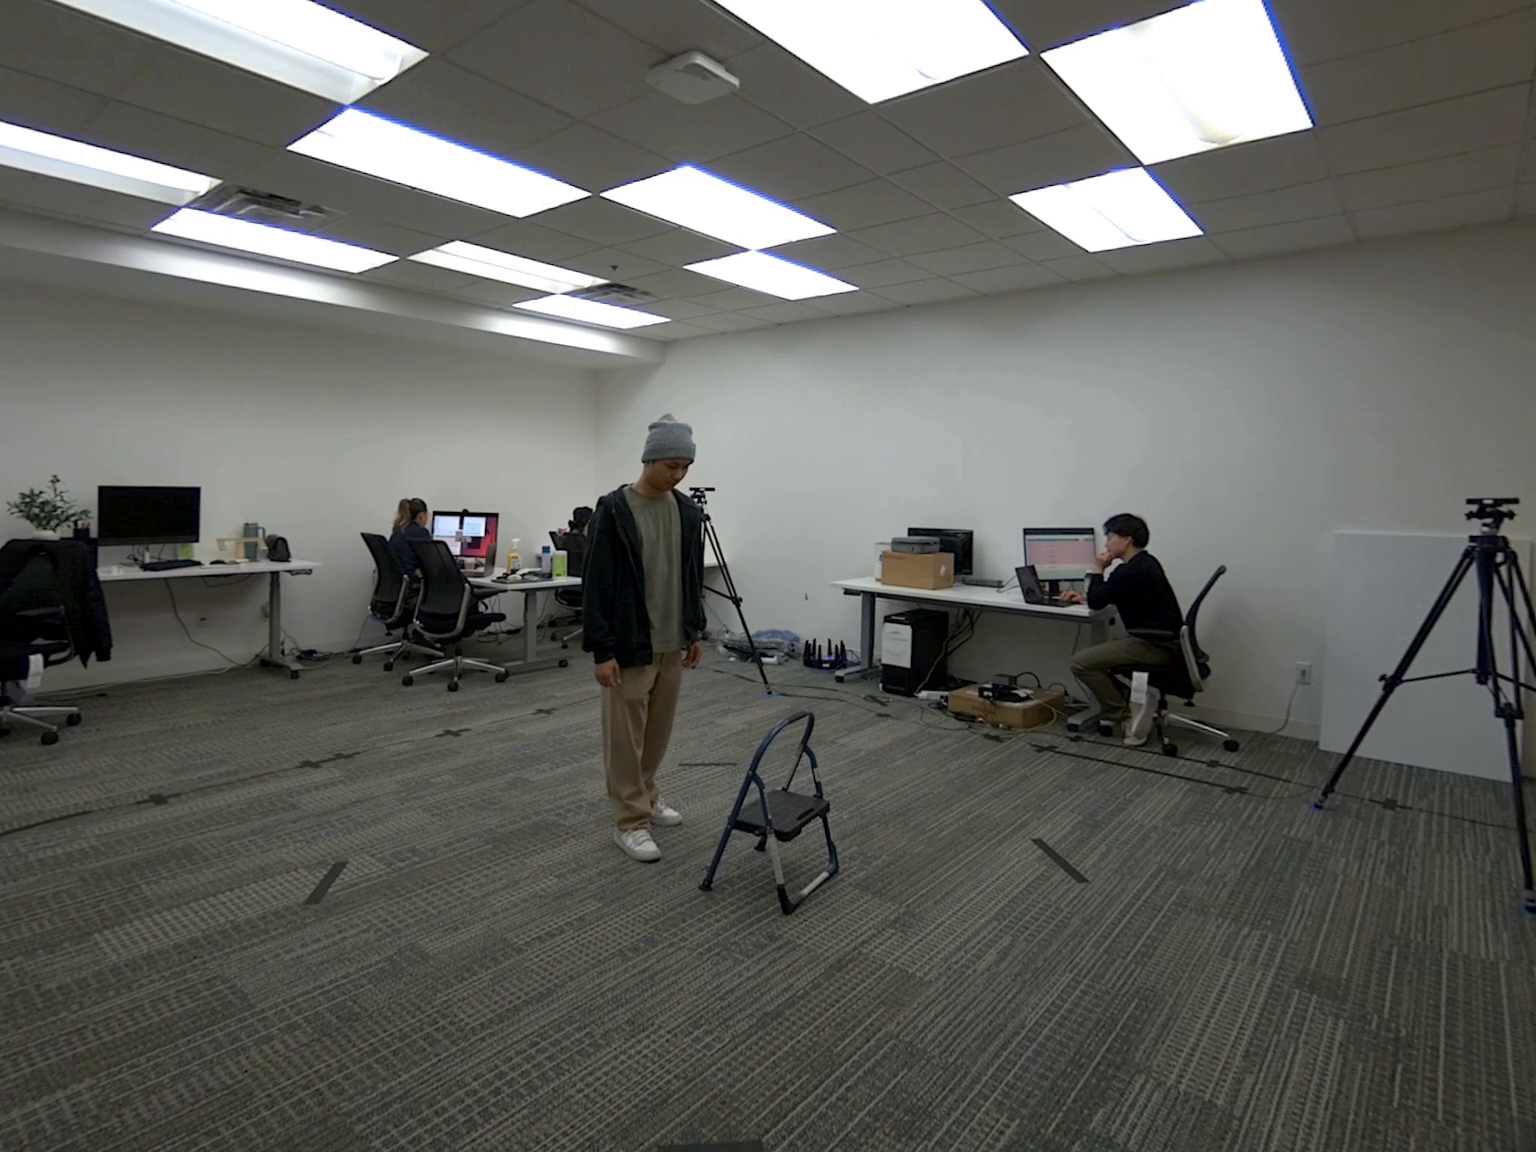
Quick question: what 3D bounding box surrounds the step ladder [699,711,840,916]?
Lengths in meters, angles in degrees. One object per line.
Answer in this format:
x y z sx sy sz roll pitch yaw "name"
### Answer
0.013 0.776 3.018 0.359 0.604 0.420 3 4 29 "step ladder"
